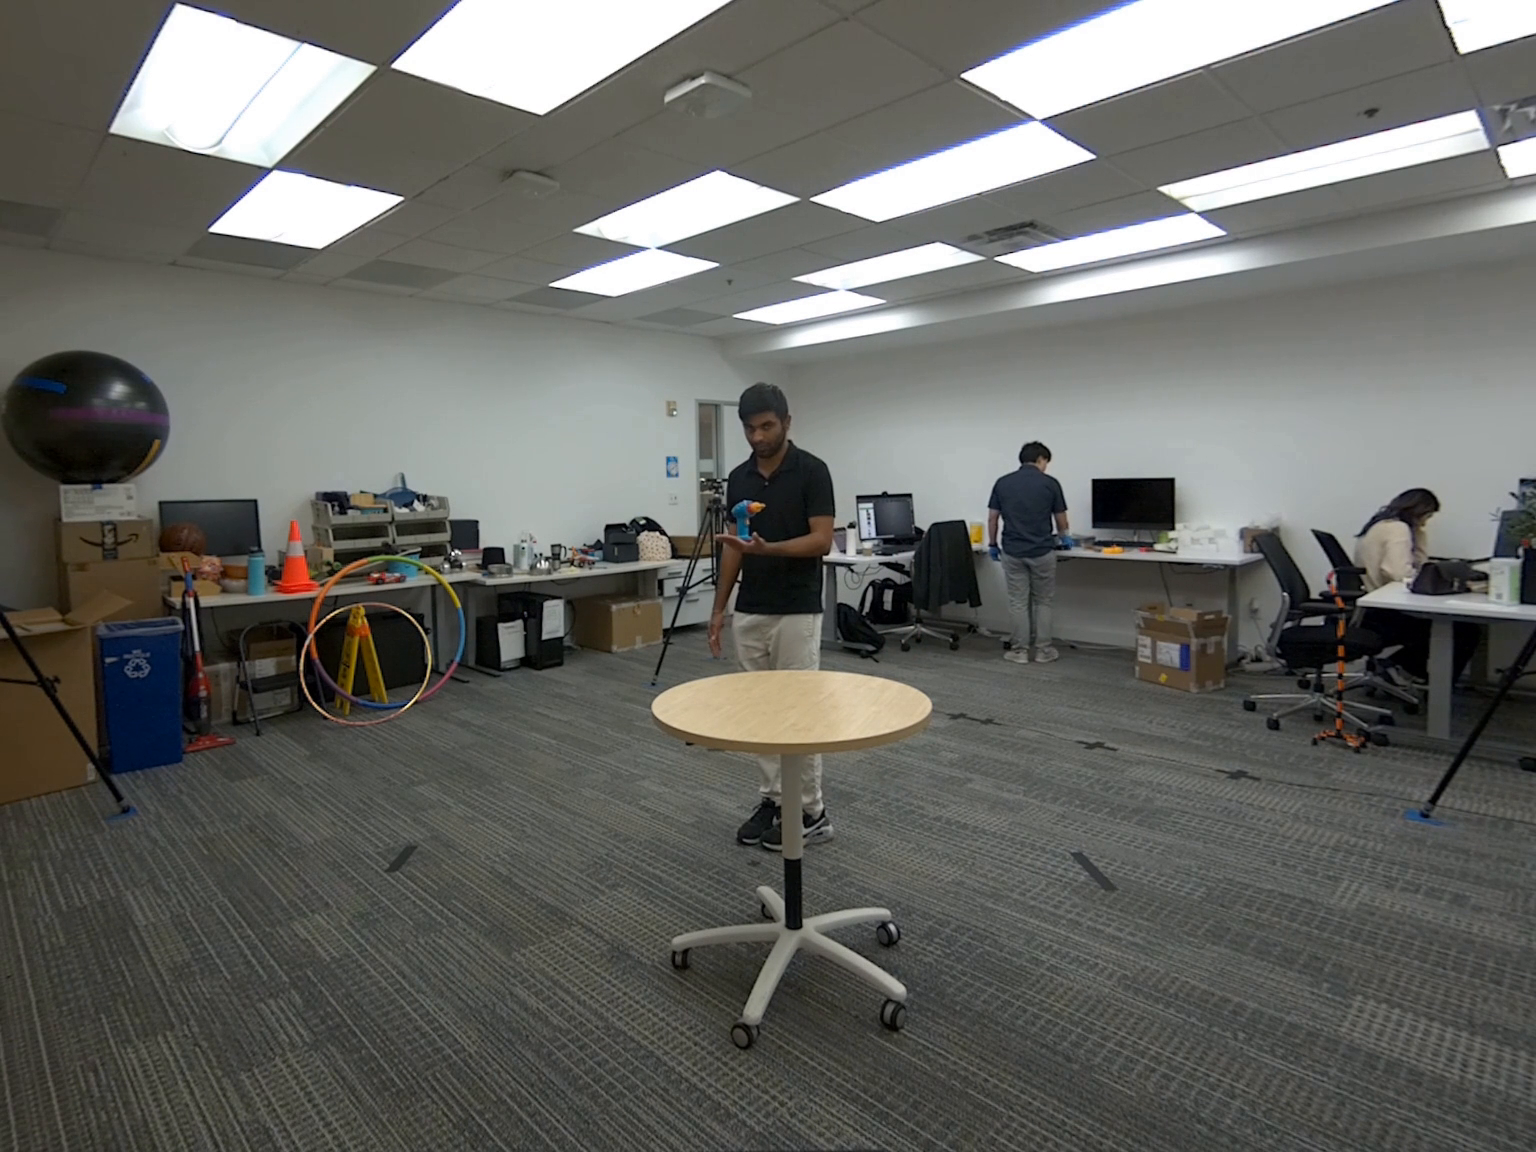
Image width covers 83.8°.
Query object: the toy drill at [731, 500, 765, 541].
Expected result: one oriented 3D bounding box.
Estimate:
[{"bbox_3d":[-0.087,-0.192,2.989,0.059,0.147,0.174,5,-8,-40],"label":"toy drill"}]
